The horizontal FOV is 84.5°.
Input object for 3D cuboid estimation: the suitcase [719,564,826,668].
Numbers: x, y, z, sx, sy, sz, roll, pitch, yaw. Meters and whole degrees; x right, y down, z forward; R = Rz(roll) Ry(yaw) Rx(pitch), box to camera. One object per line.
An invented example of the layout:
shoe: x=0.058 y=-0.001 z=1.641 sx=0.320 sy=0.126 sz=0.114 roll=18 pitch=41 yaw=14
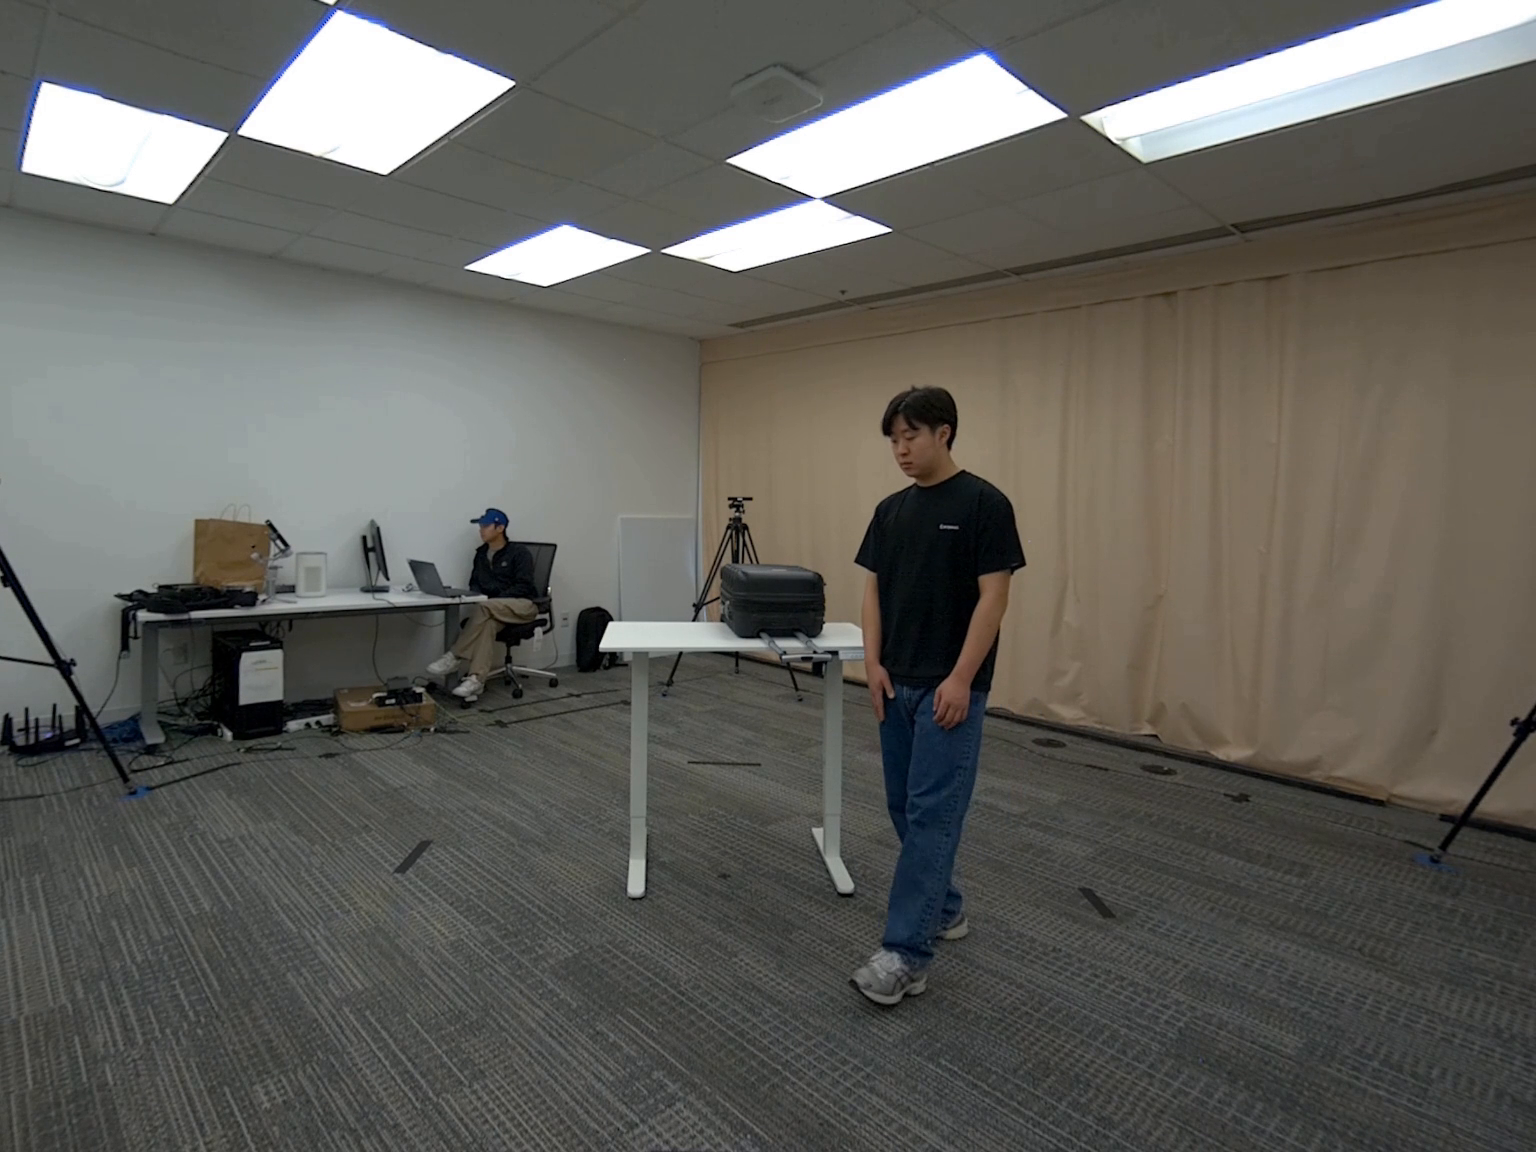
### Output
suitcase: x=0.038 y=0.104 z=3.099 sx=0.381 sy=0.257 sz=0.987 roll=1 pitch=3 yaw=-10
